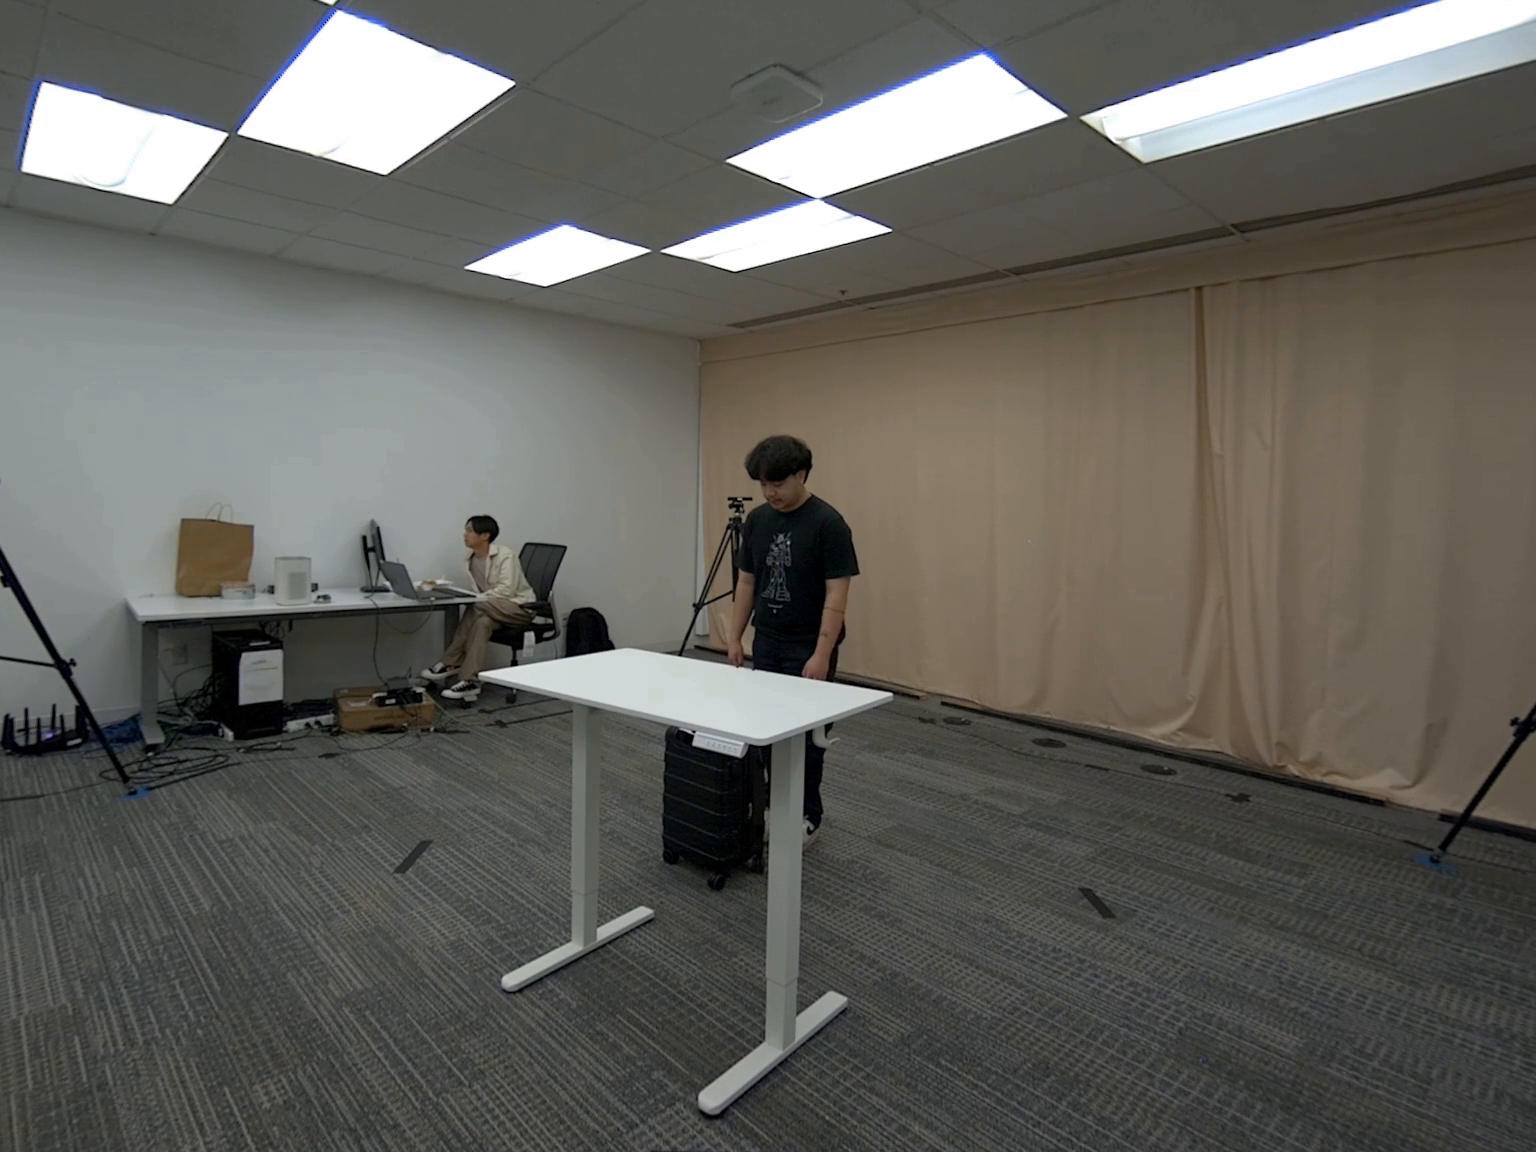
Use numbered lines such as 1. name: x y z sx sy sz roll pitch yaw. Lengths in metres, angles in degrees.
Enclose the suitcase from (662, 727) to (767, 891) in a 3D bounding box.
1. suitcase: -0.213 0.826 3.180 0.385 0.548 0.242 4 5 44
